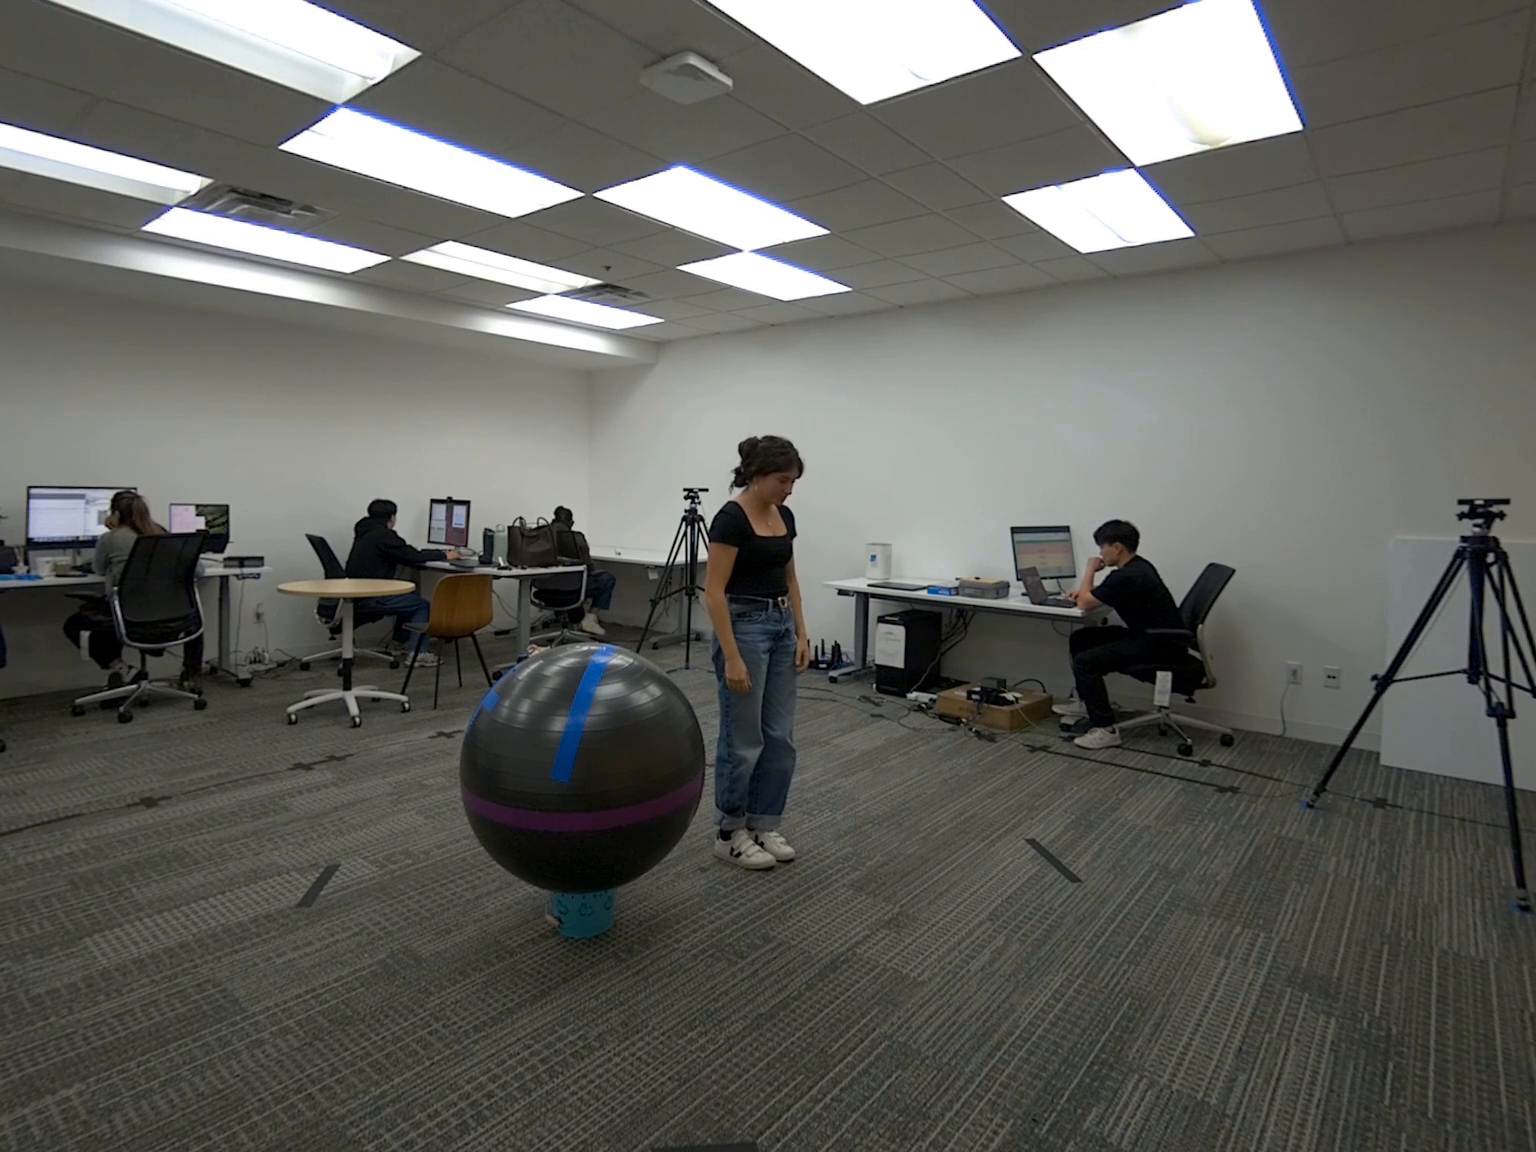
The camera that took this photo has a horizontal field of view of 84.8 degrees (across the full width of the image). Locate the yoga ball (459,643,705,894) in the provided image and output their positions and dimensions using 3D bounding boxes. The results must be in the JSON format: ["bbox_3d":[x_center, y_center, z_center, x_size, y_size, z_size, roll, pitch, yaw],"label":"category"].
[{"bbox_3d":[-0.589,0.593,2.675,0.757,0.756,0.761,1,4,-2],"label":"yoga ball"}]
